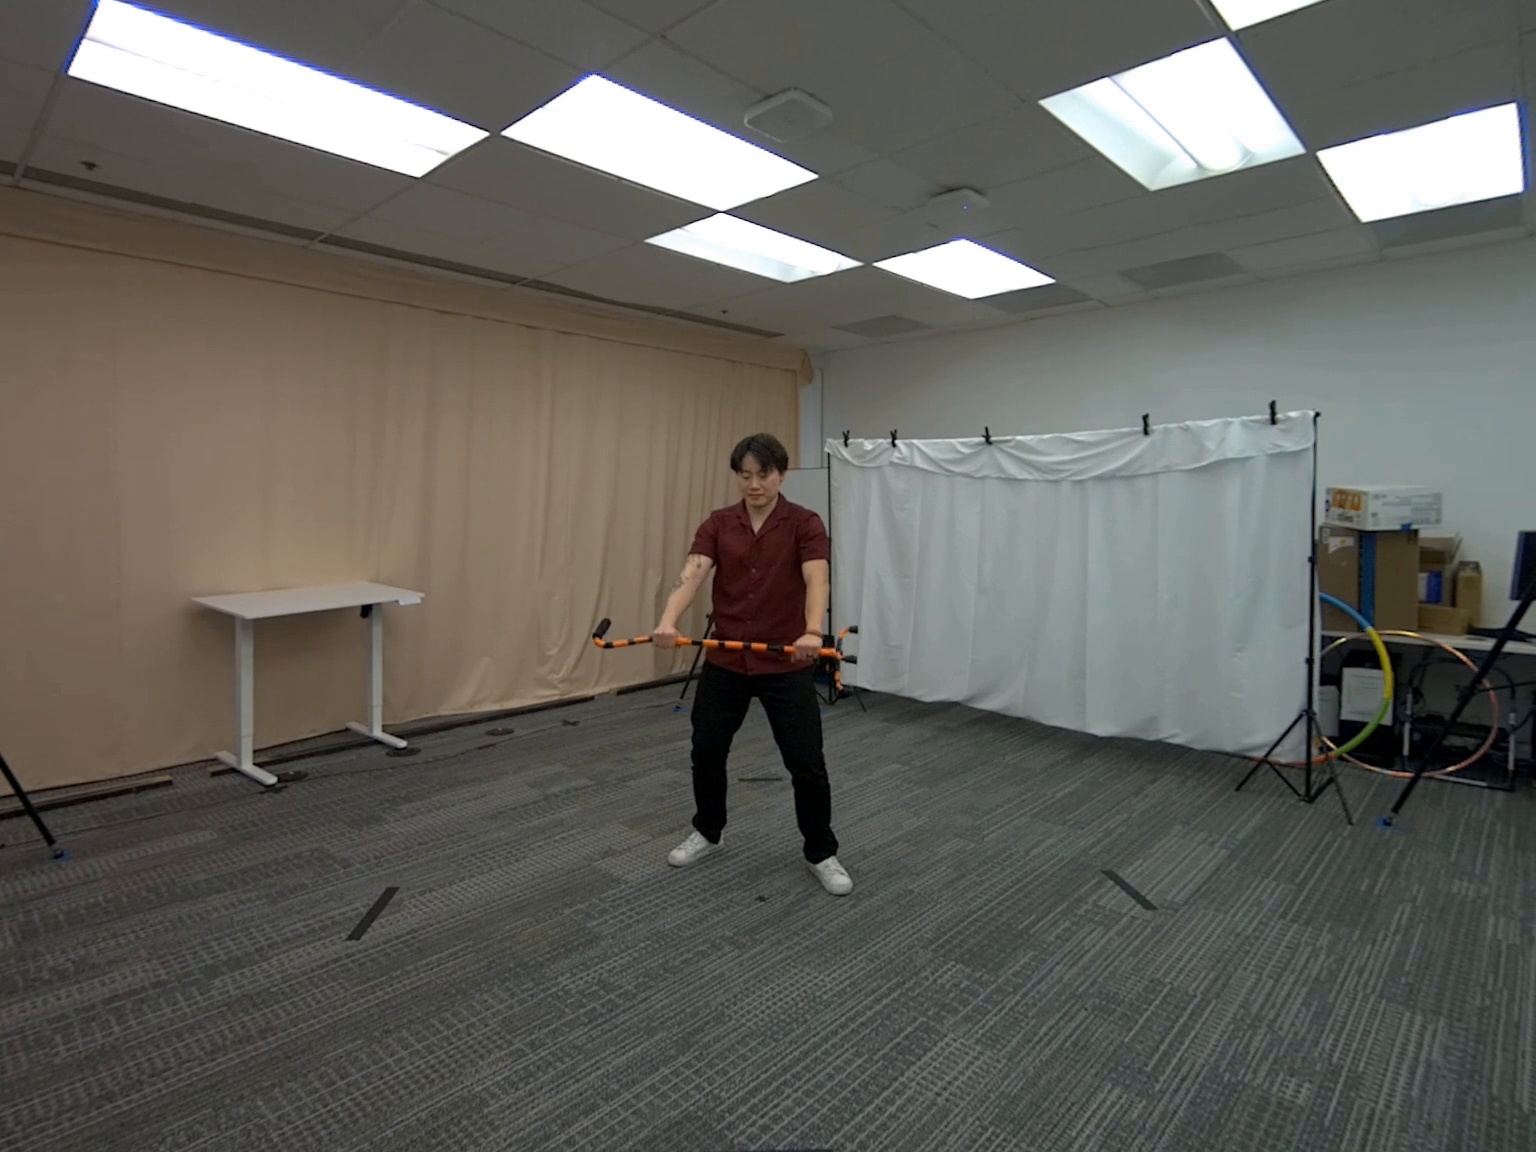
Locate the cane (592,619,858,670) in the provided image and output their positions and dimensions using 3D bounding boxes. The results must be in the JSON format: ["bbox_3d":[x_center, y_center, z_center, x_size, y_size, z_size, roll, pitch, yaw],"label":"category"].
[{"bbox_3d":[-0.161,0.240,2.848,0.921,0.149,0.207,4,28,12],"label":"cane"}]
